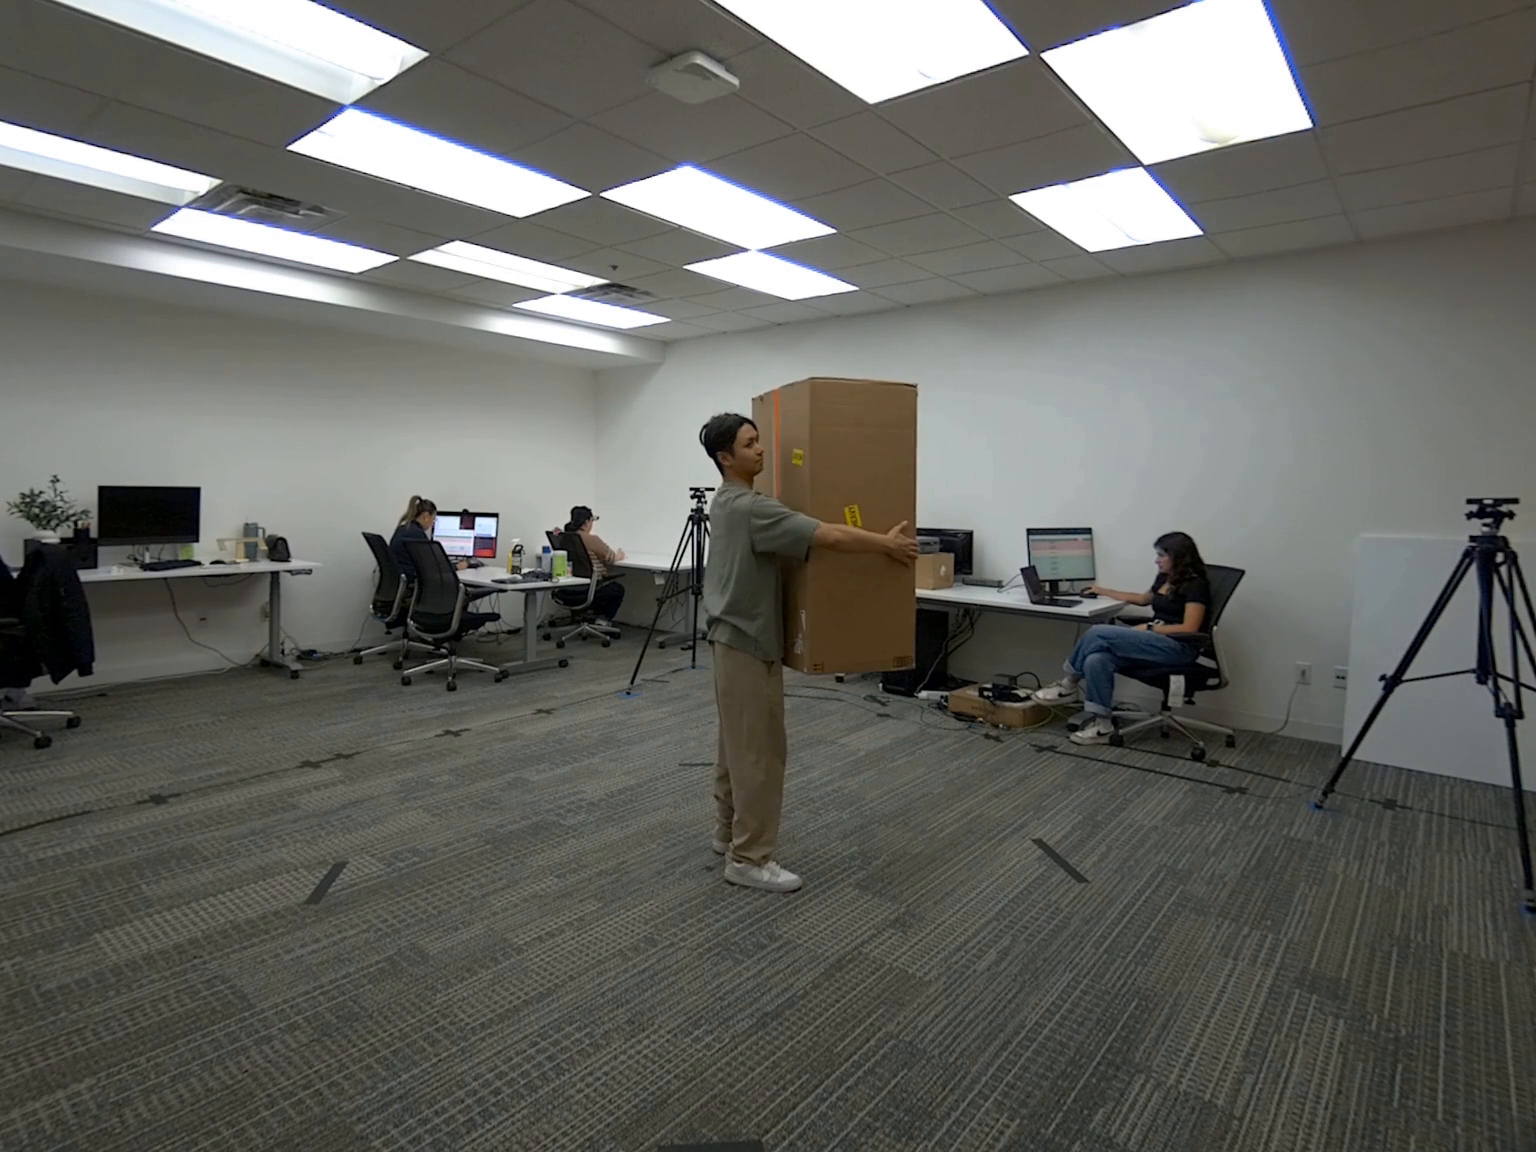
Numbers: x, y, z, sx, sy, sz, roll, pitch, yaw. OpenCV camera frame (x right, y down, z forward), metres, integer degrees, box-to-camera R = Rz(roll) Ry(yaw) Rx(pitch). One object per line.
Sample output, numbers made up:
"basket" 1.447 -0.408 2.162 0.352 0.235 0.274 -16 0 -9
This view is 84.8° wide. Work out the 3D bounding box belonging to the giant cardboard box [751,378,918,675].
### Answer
"giant cardboard box" 0.220 -0.199 3.228 0.418 1.024 0.590 -1 2 -20
